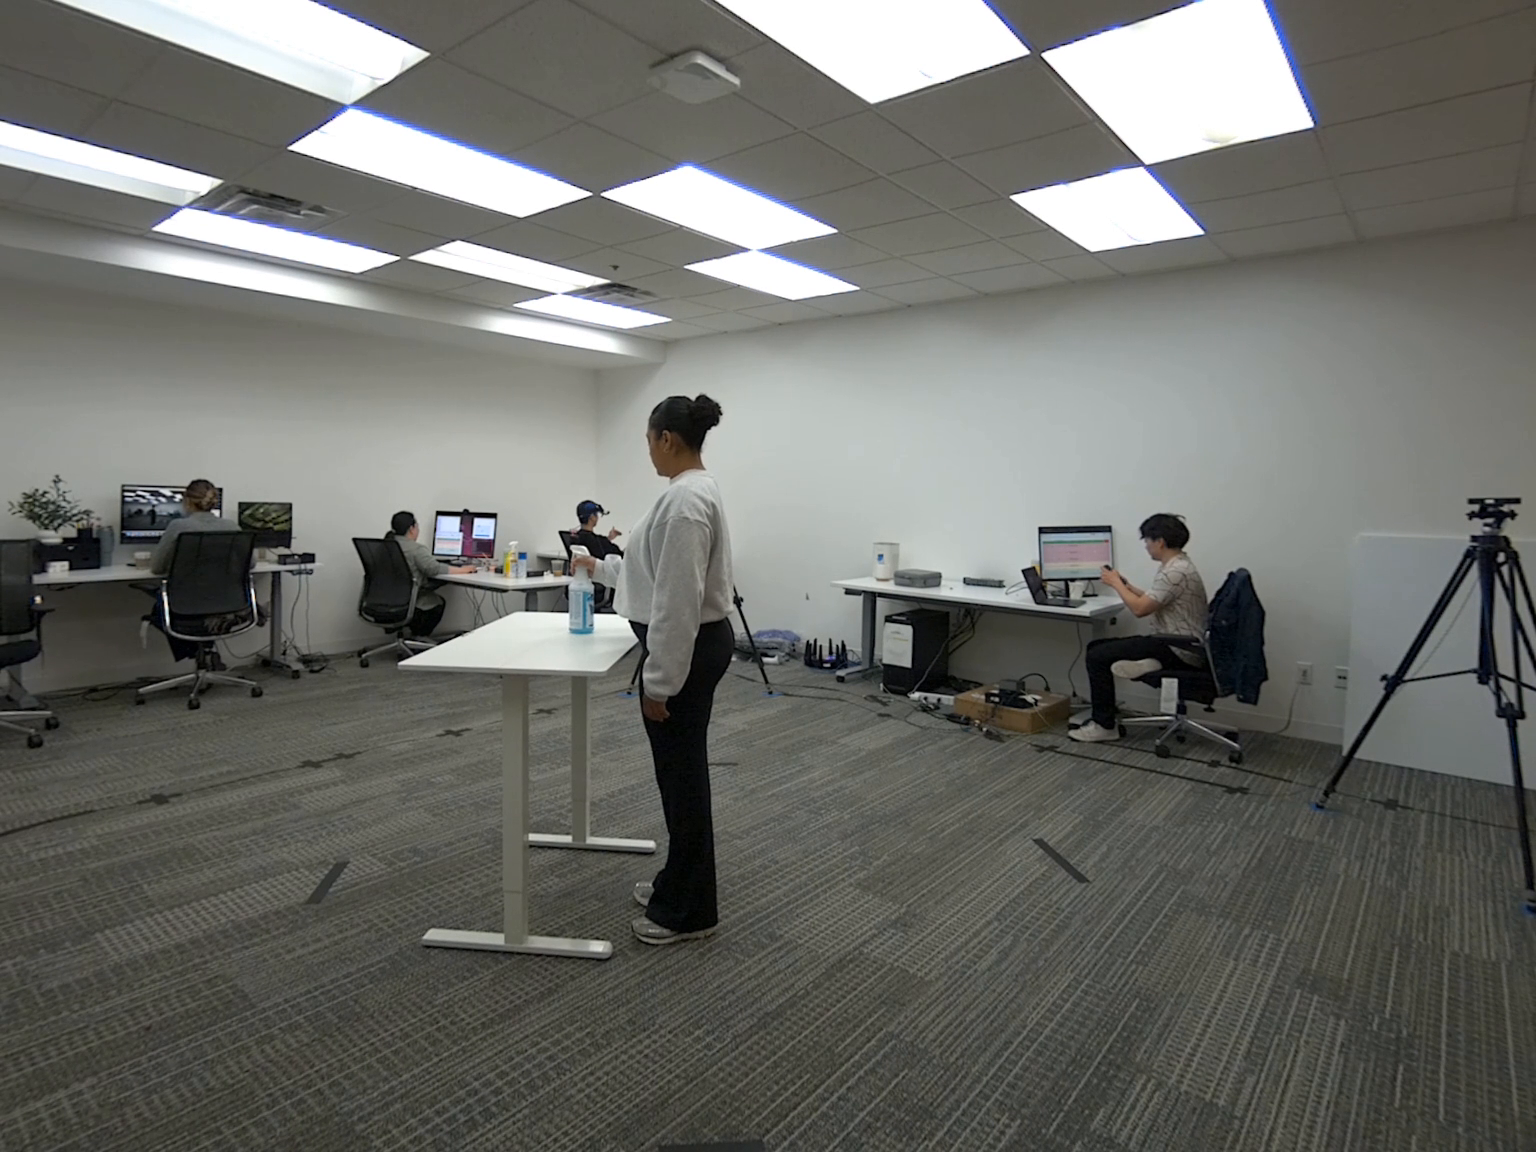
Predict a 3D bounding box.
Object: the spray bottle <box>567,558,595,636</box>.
[{"bbox_3d":[-0.657,0.038,2.936,0.085,0.297,0.092,0,3,-29],"label":"spray bottle"}]
